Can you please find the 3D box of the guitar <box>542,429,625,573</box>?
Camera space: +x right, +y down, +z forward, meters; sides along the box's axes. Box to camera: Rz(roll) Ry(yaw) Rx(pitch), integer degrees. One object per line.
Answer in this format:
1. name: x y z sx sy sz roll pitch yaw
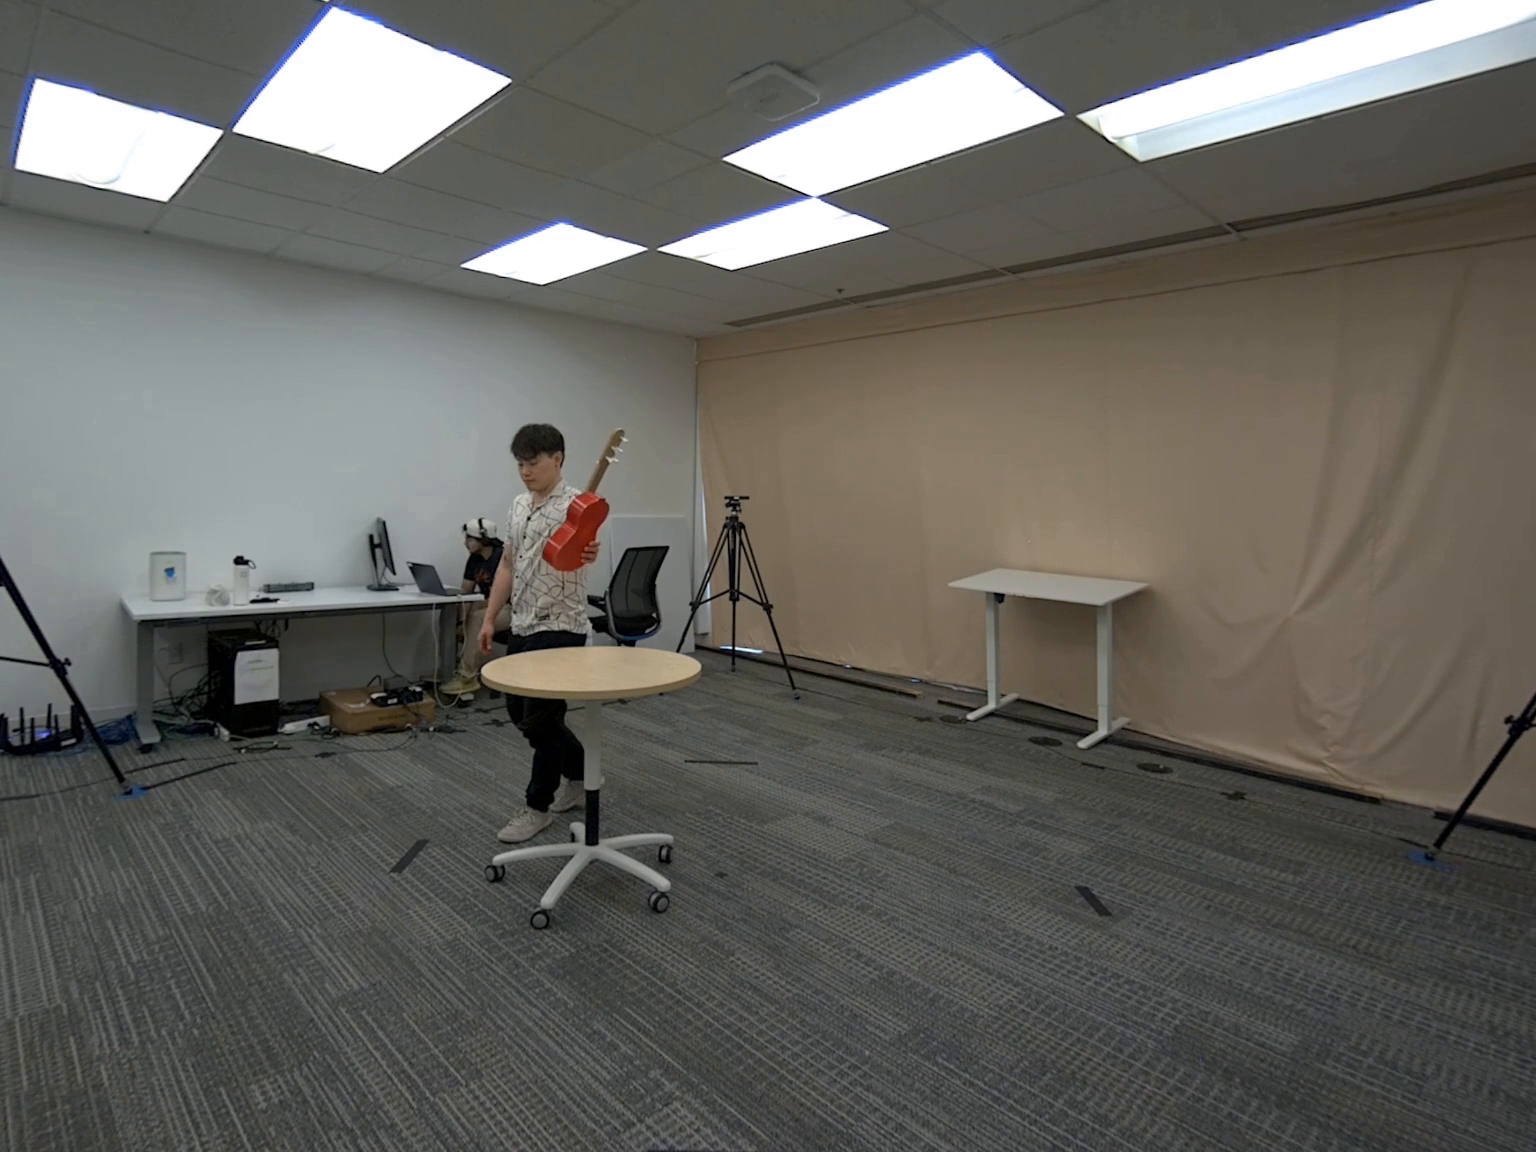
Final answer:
1. guitar: -0.586 -0.235 2.696 0.072 0.494 0.190 33 23 18
